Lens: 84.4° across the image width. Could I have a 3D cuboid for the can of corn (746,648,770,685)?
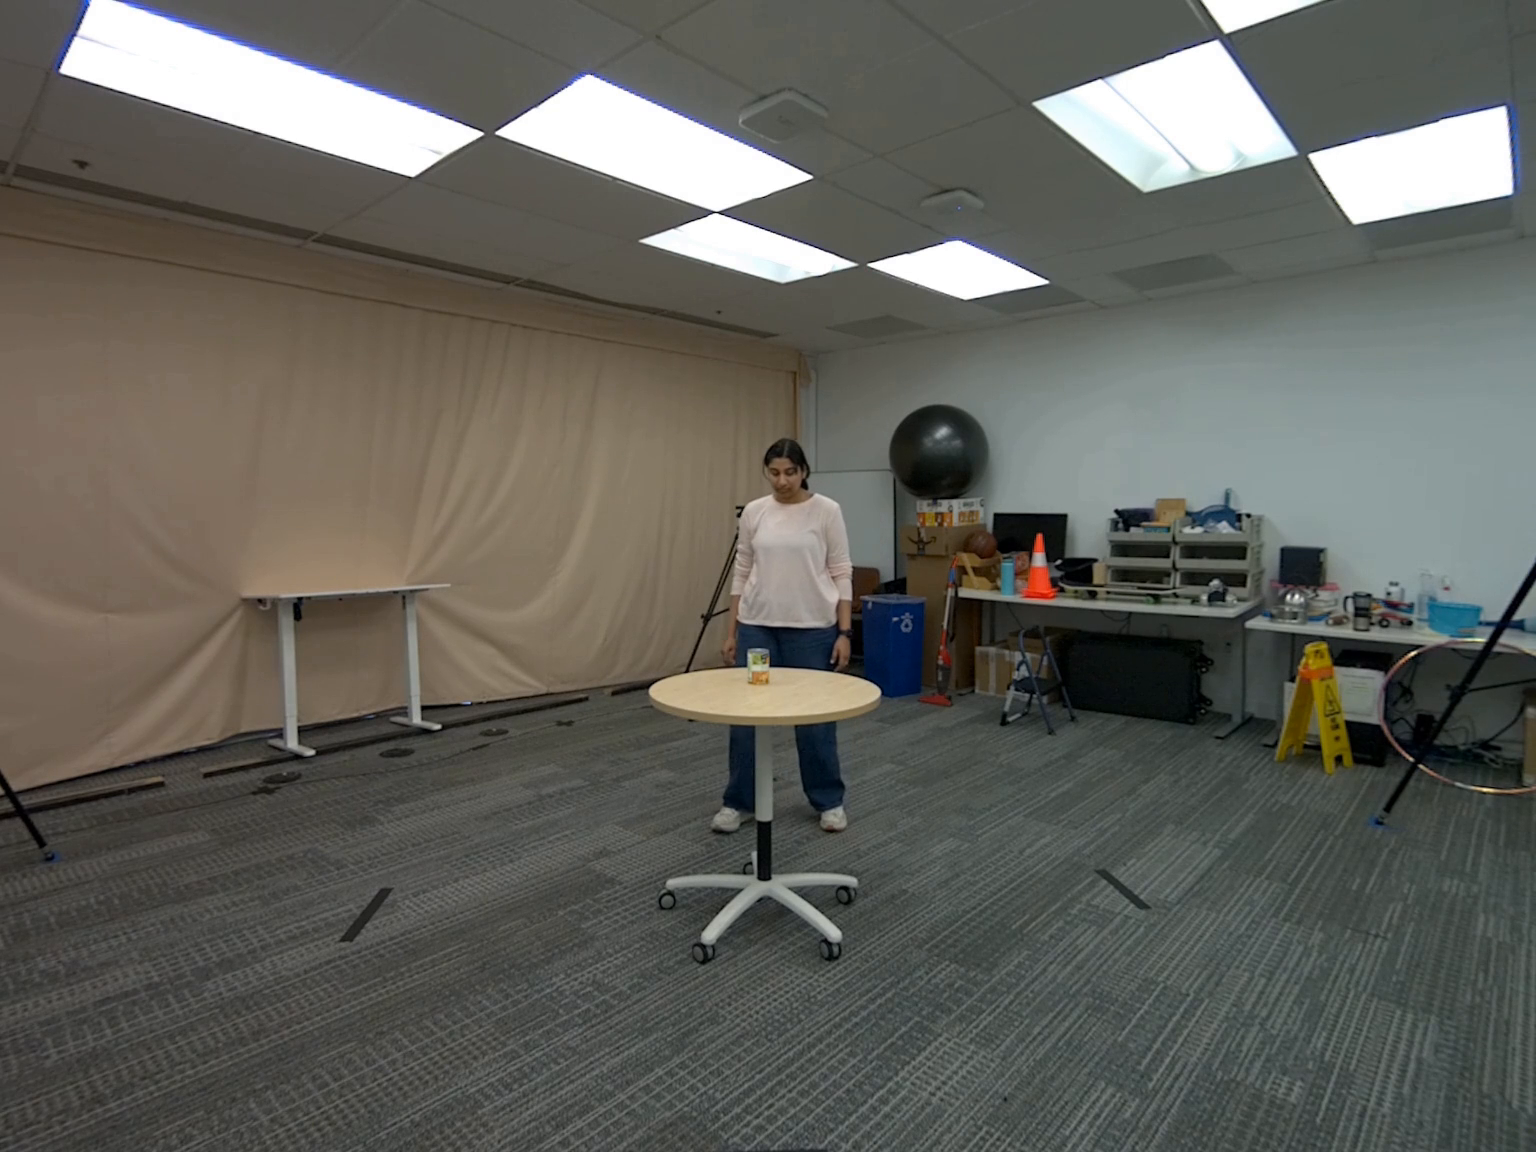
[{"bbox_3d":[-0.037,0.312,2.906,0.074,0.111,0.074,3,0,-2],"label":"can of corn"}]
